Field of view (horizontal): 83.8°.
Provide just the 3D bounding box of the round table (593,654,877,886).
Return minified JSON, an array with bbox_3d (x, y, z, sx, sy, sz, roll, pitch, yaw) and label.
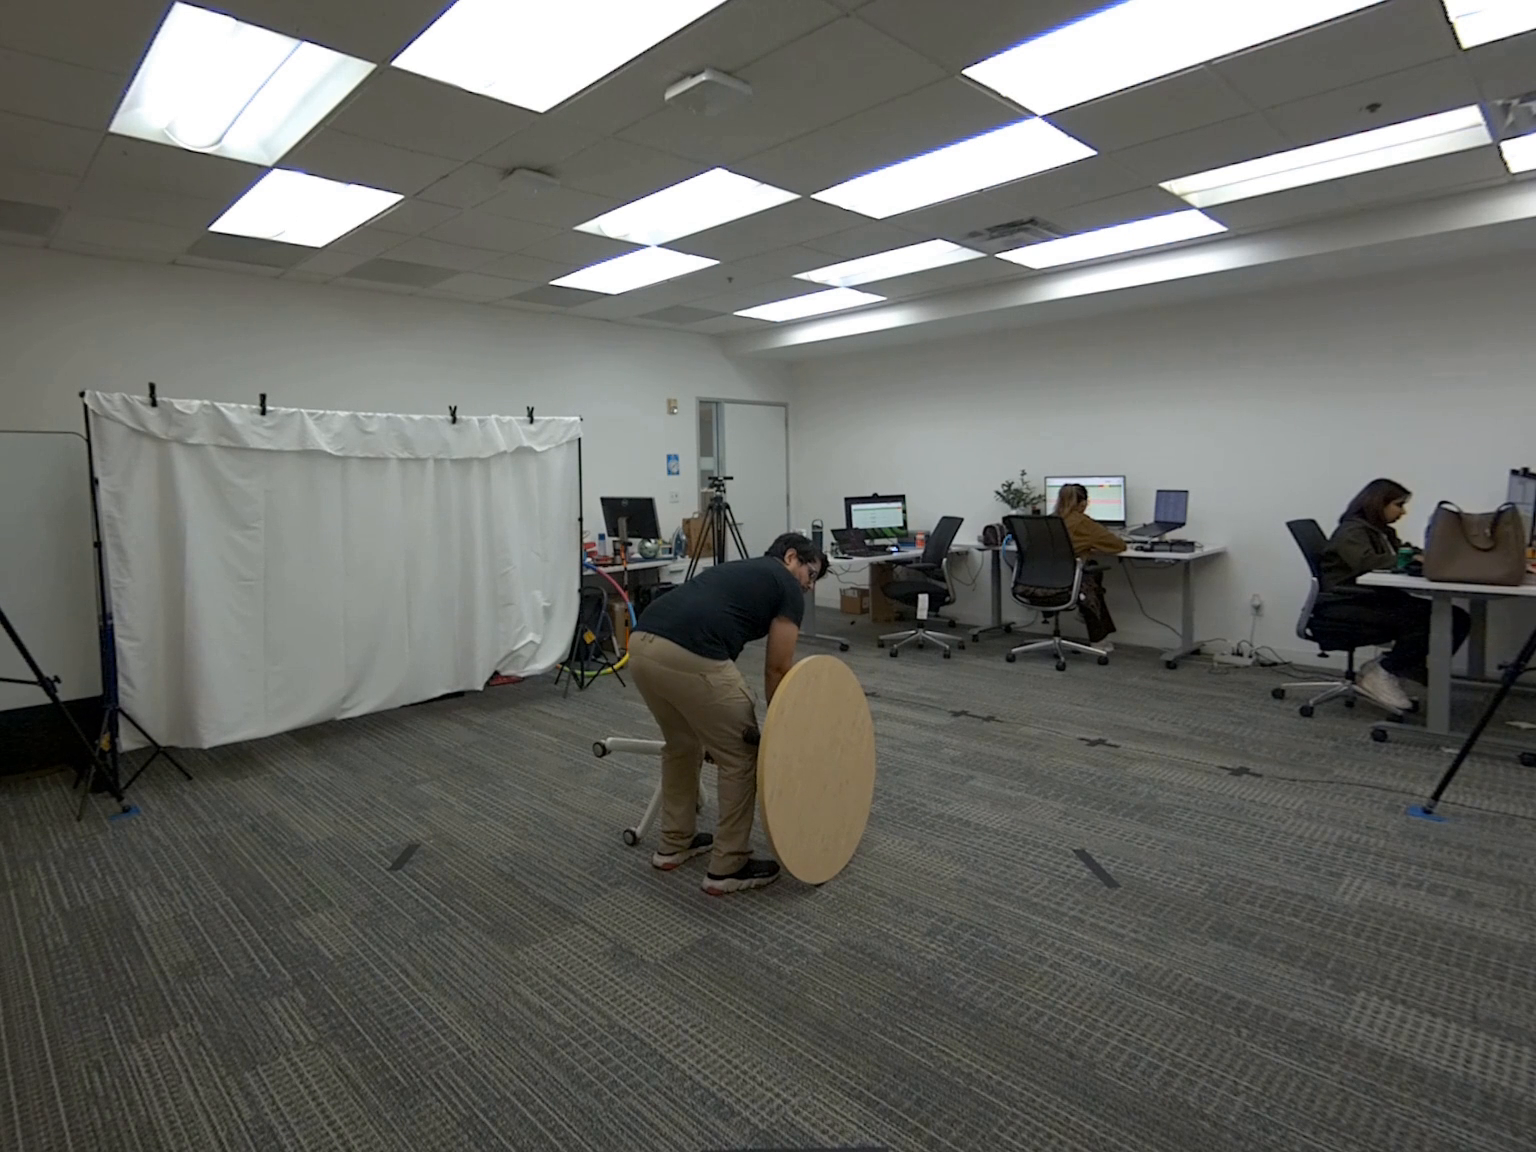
[{"bbox_3d":[-0.126,0.669,3.217,0.807,0.784,0.766,-3,3,35],"label":"round table"}]
